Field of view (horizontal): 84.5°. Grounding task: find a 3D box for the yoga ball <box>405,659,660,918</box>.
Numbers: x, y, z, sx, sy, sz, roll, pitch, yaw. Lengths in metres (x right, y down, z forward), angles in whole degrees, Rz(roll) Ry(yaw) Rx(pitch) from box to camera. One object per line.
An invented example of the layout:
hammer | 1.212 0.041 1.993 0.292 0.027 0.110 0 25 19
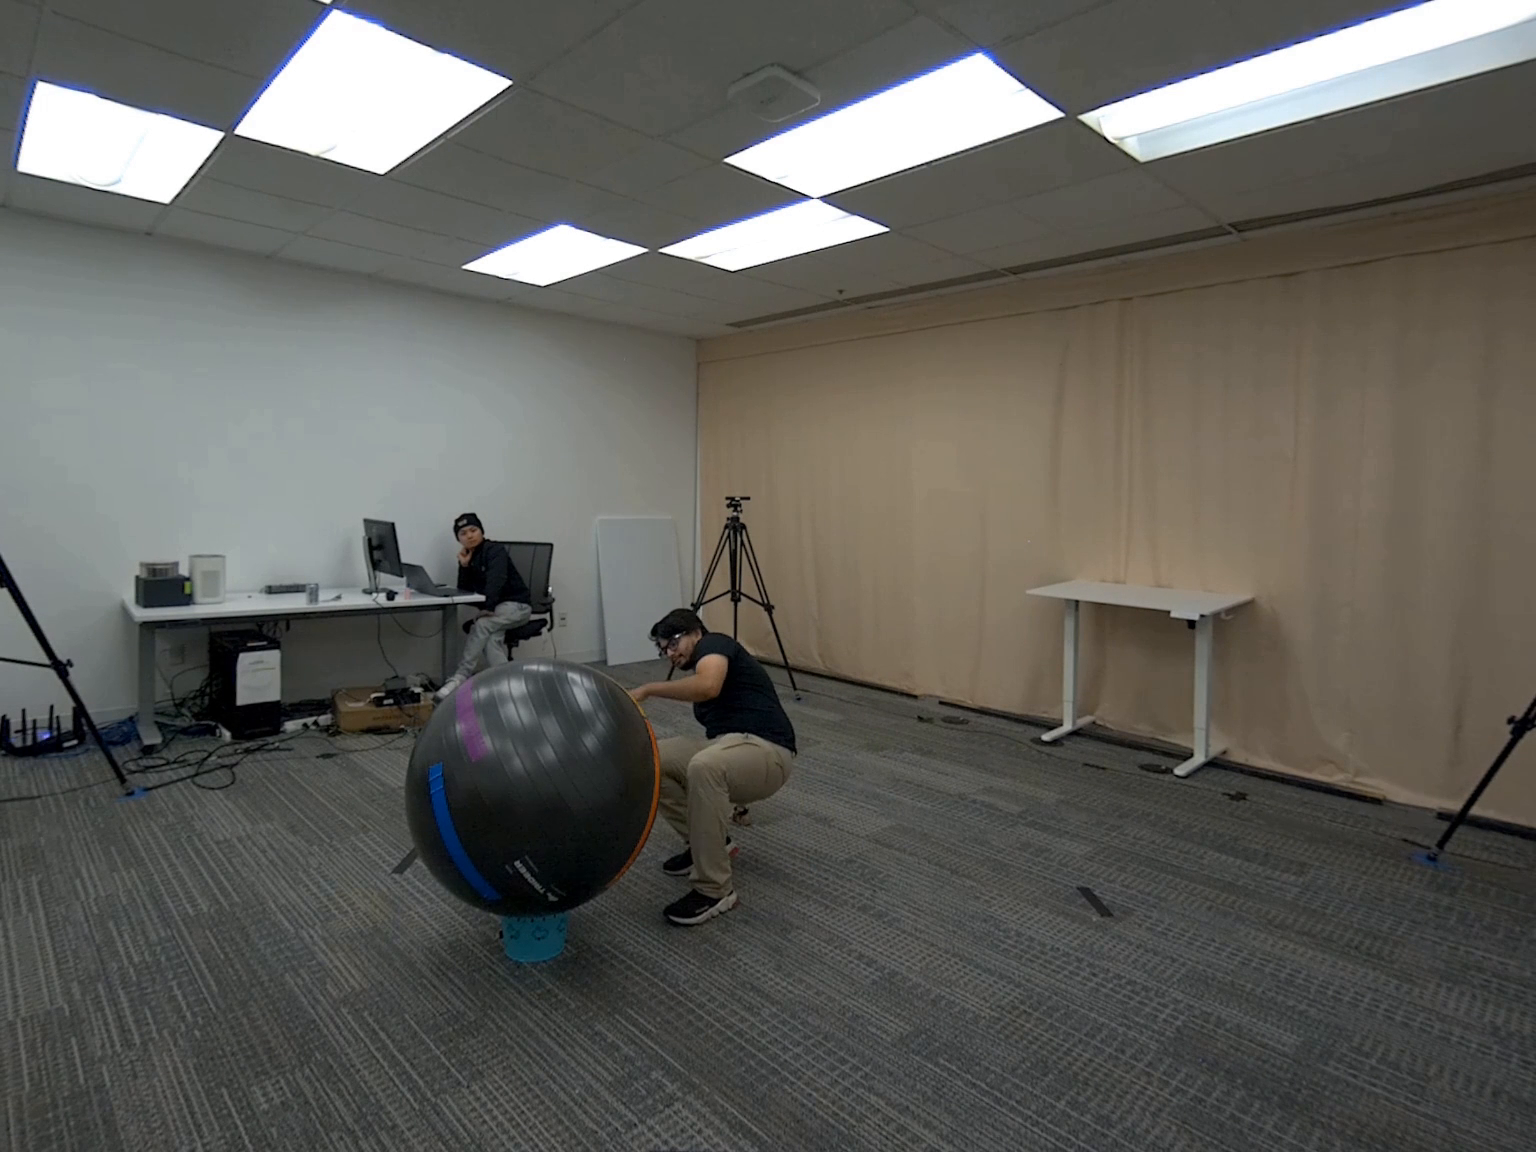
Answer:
yoga ball | -0.709 0.640 2.565 0.757 0.756 0.761 1 4 -1
